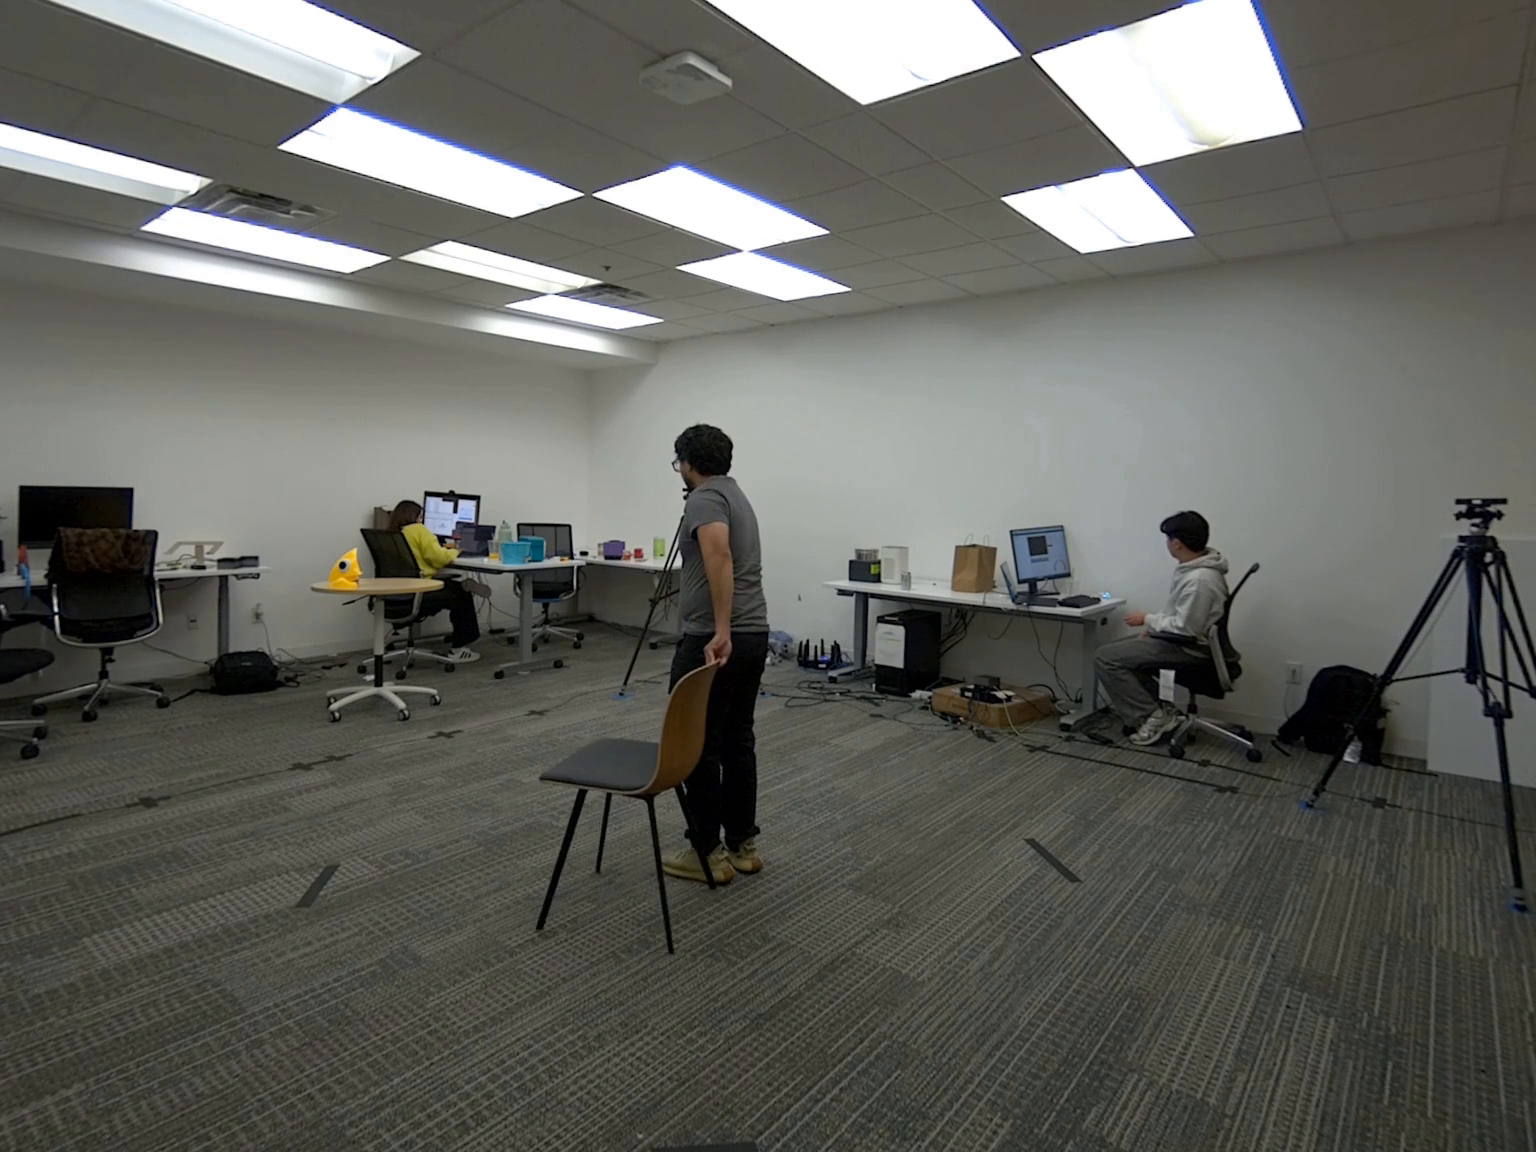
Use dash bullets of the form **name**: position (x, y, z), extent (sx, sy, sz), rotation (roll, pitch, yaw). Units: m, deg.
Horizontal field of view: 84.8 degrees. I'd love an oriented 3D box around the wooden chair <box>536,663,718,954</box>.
- **wooden chair**: position (-0.463, 0.669, 2.780), extent (0.532, 0.874, 0.471), rotation (6, 4, 14)
